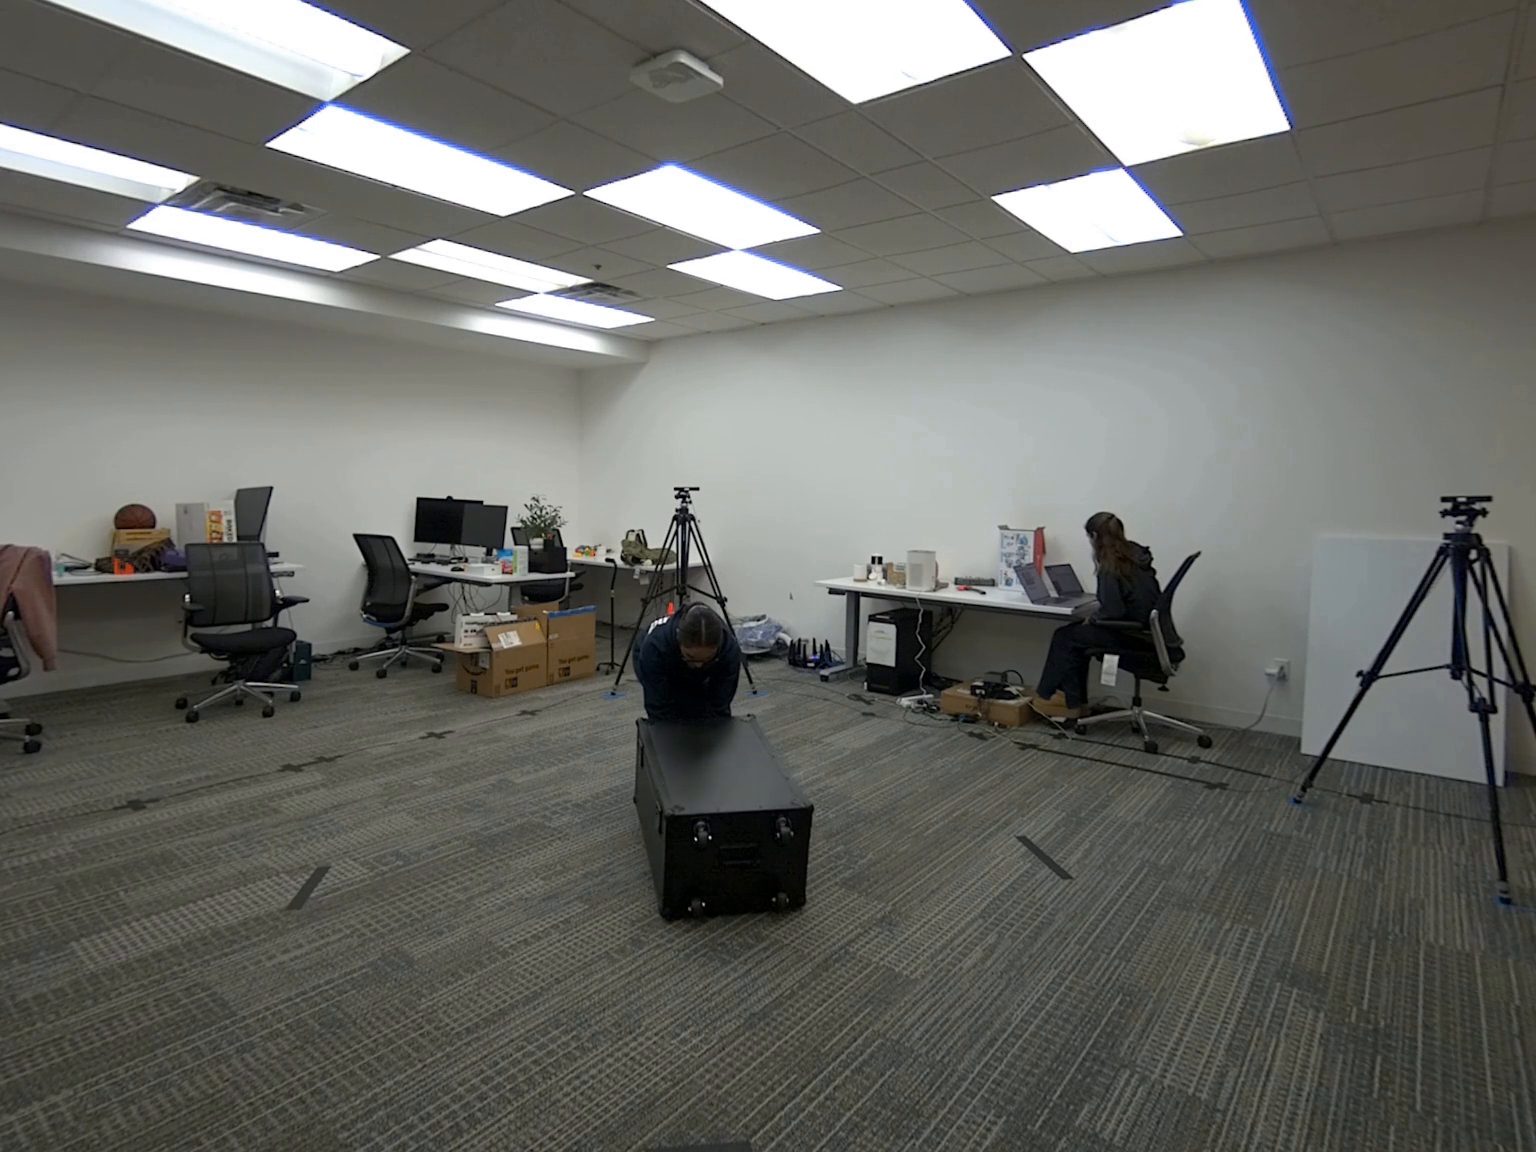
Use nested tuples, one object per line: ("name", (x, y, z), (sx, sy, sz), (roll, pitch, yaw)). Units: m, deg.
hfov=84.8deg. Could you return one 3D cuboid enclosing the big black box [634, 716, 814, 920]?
("big black box", (-0.200, 0.837, 3.064), (0.514, 0.393, 0.882), (0, 11, -15))
